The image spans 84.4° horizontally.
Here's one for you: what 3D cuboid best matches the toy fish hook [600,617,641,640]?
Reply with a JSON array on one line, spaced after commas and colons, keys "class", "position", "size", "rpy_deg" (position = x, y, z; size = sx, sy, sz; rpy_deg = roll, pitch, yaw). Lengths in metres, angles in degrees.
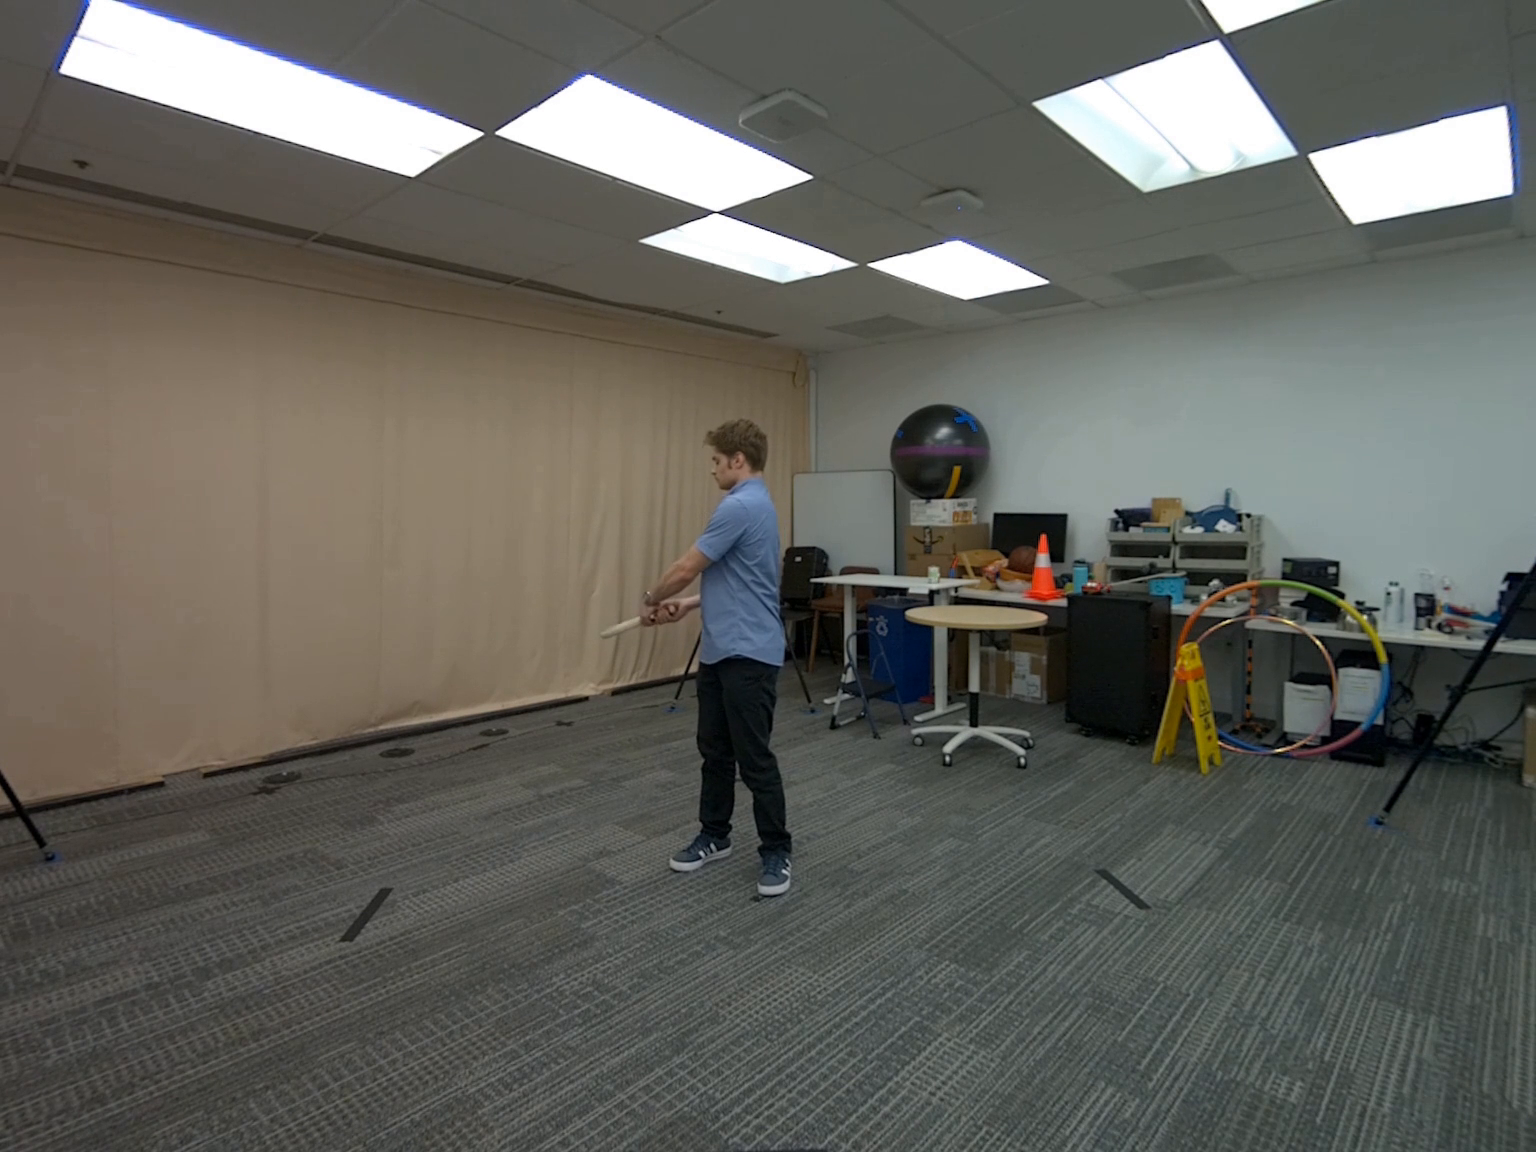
[{"class": "toy fish hook", "position": [-0.497, 0.180, 3.372], "size": [0.220, 0.048, 0.519], "rpy_deg": [-27, 6, -41]}]
